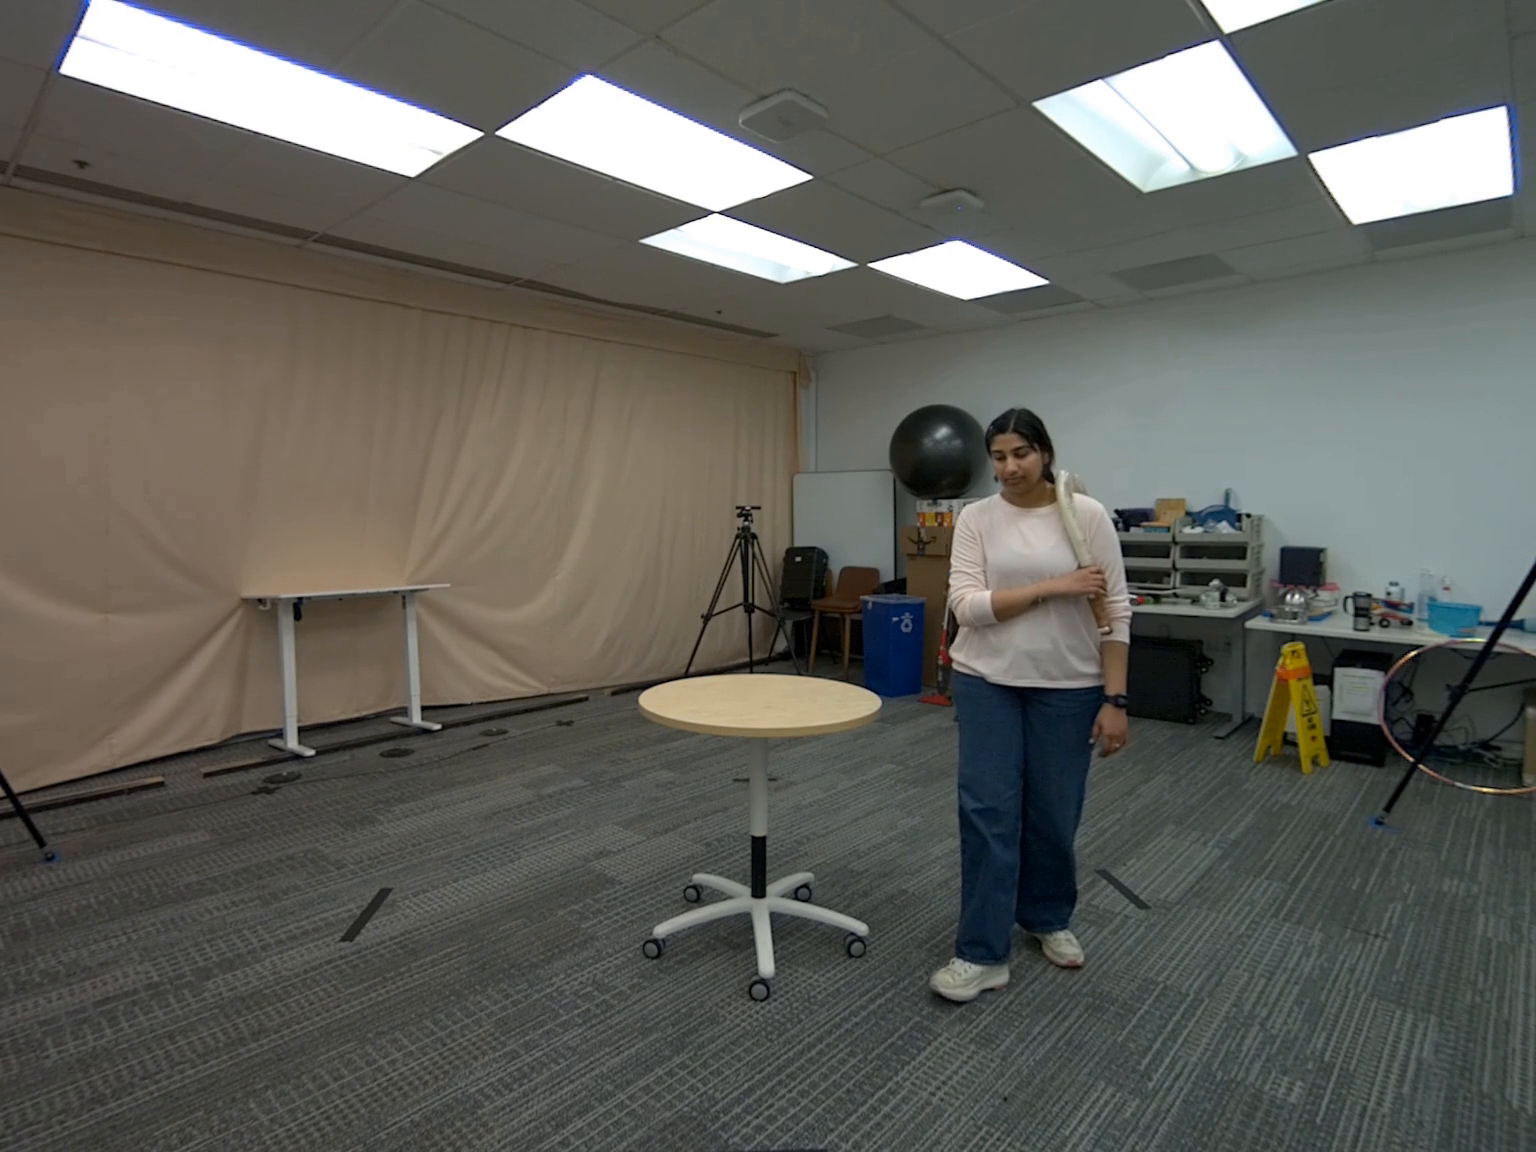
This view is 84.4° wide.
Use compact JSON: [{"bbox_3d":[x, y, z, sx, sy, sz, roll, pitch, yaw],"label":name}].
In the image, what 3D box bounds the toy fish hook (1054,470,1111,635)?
[{"bbox_3d":[0.930,-0.068,2.433,0.217,0.514,0.049,10,-27,-39],"label":"toy fish hook"}]
